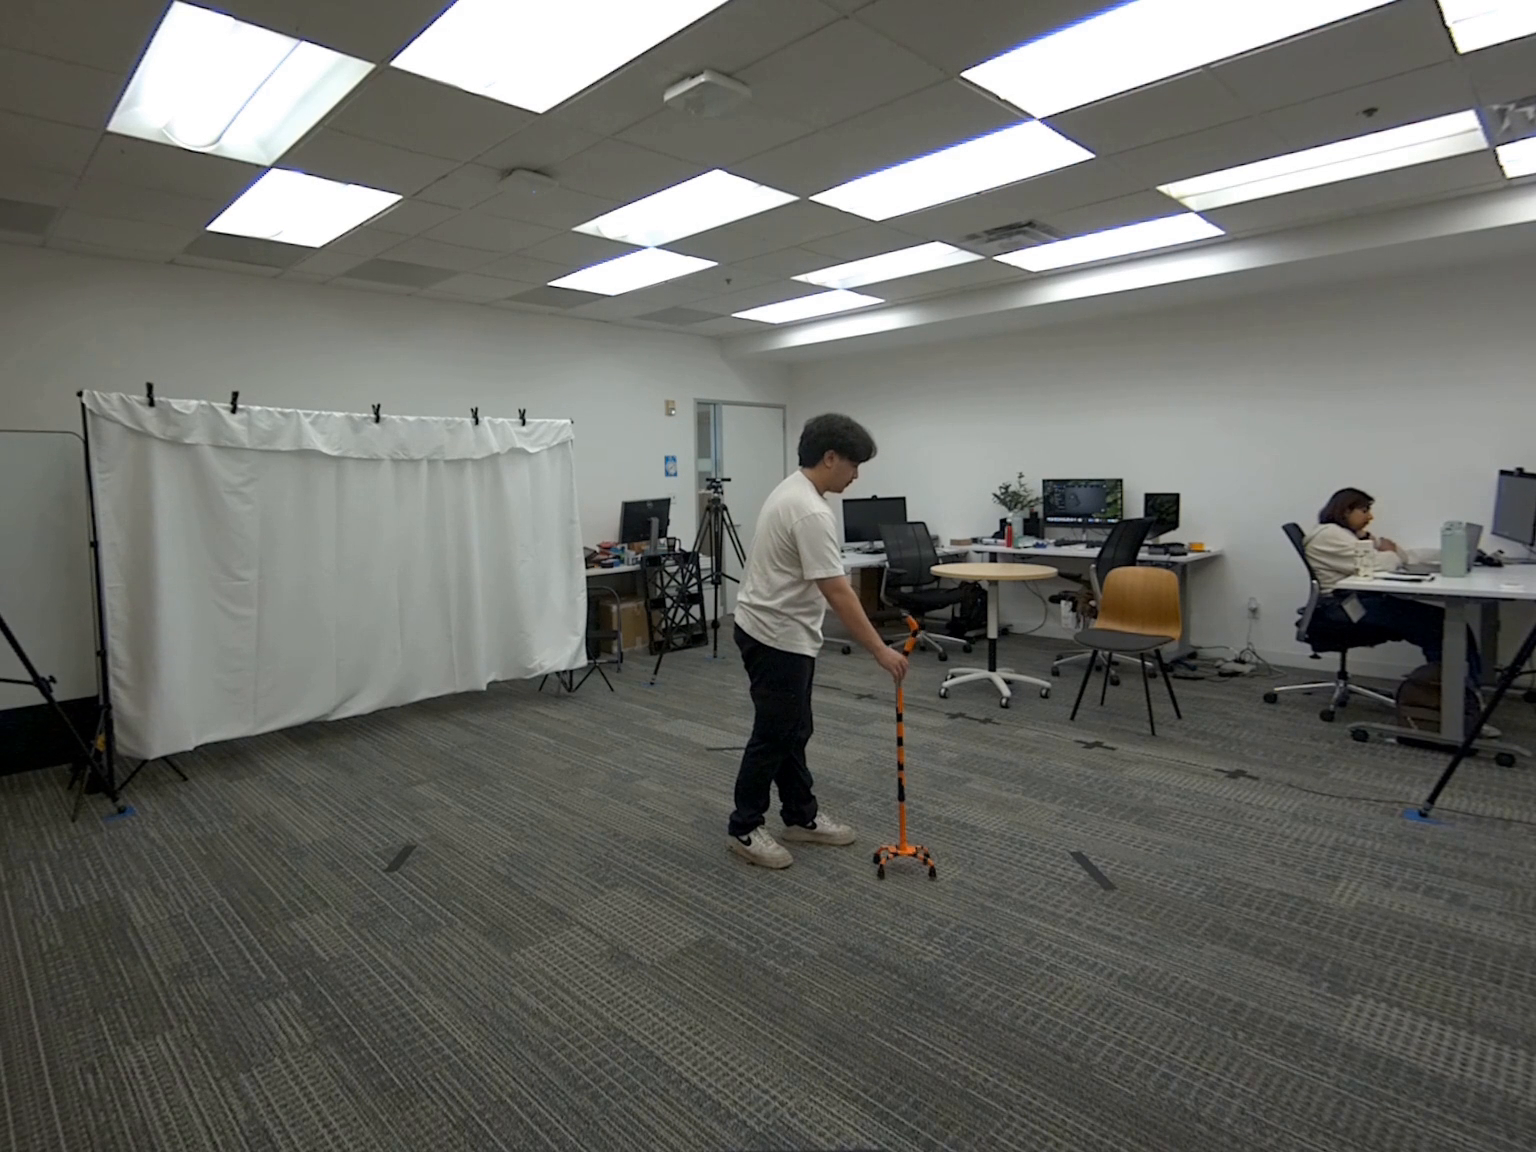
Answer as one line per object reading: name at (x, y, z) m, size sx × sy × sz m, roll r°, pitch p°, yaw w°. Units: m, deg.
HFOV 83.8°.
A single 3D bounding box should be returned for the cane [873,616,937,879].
cane at (0.475, 0.584, 3.007) m, size 0.207 × 0.907 × 0.151 m, roll -1°, pitch 1°, yaw 4°
